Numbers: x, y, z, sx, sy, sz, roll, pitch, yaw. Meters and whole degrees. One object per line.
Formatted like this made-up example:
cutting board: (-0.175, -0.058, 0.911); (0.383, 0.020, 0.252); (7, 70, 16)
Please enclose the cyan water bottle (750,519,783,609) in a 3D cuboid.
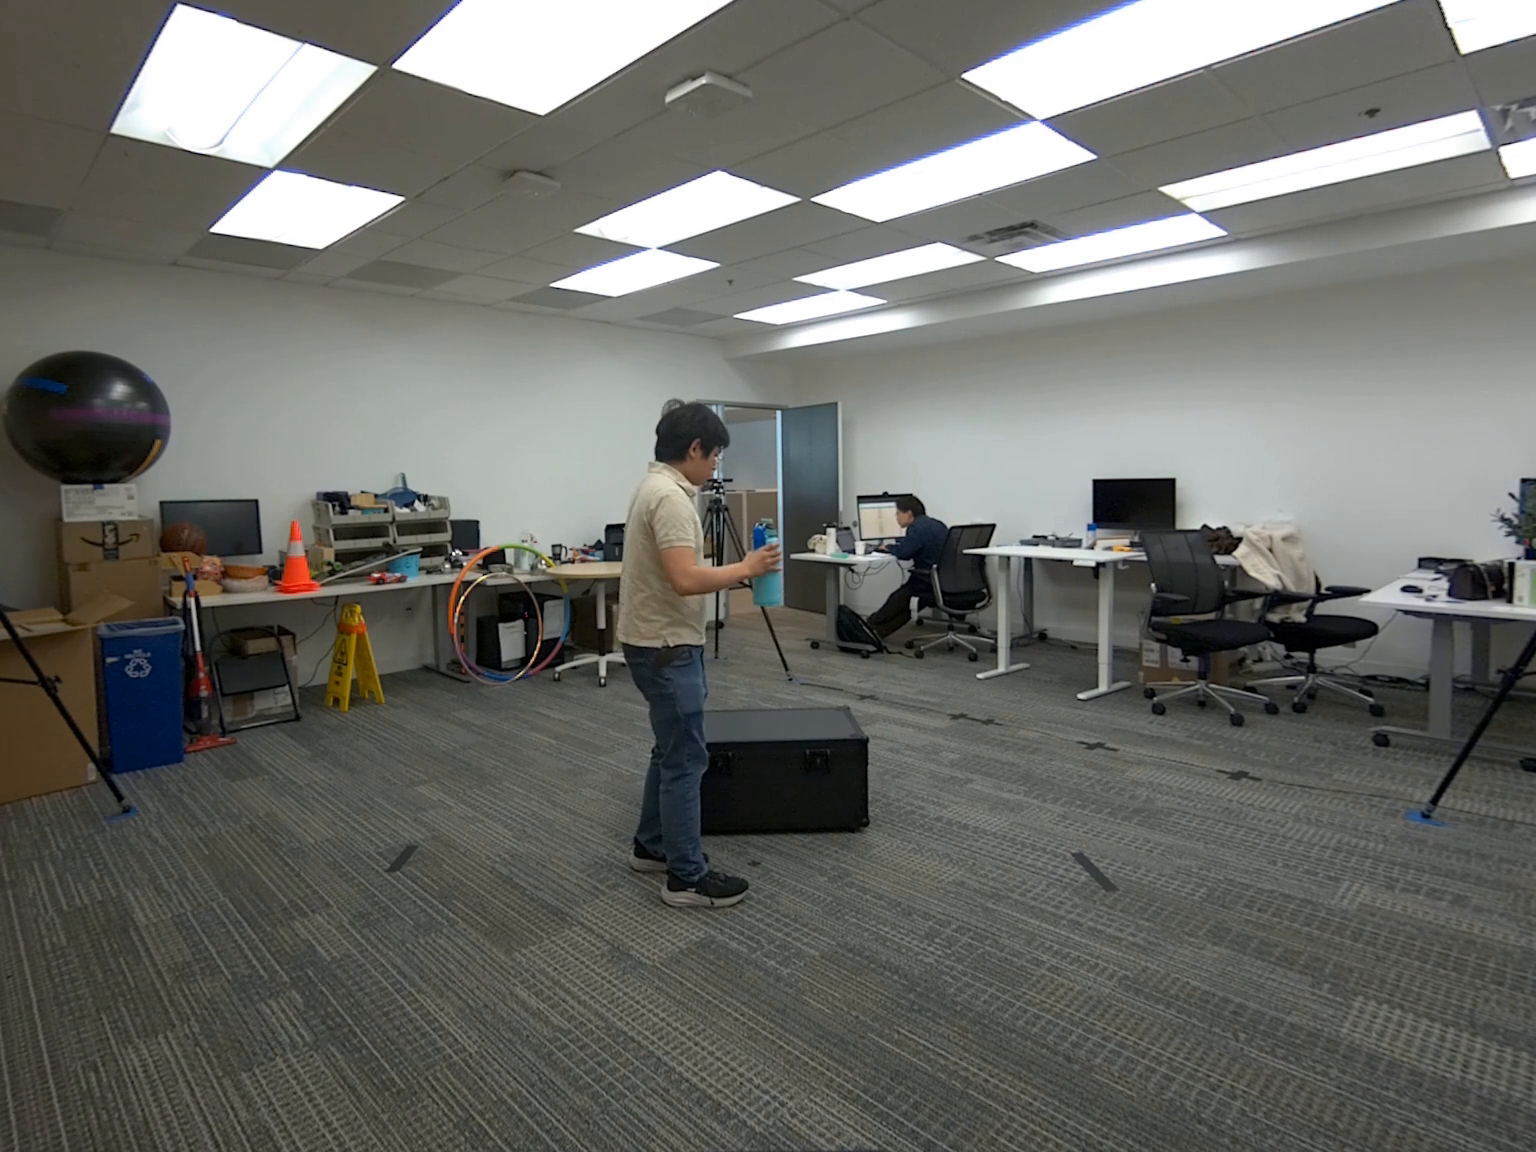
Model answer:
cyan water bottle: (-0.008, -0.050, 2.837); (0.092, 0.281, 0.093); (-2, 7, -1)
